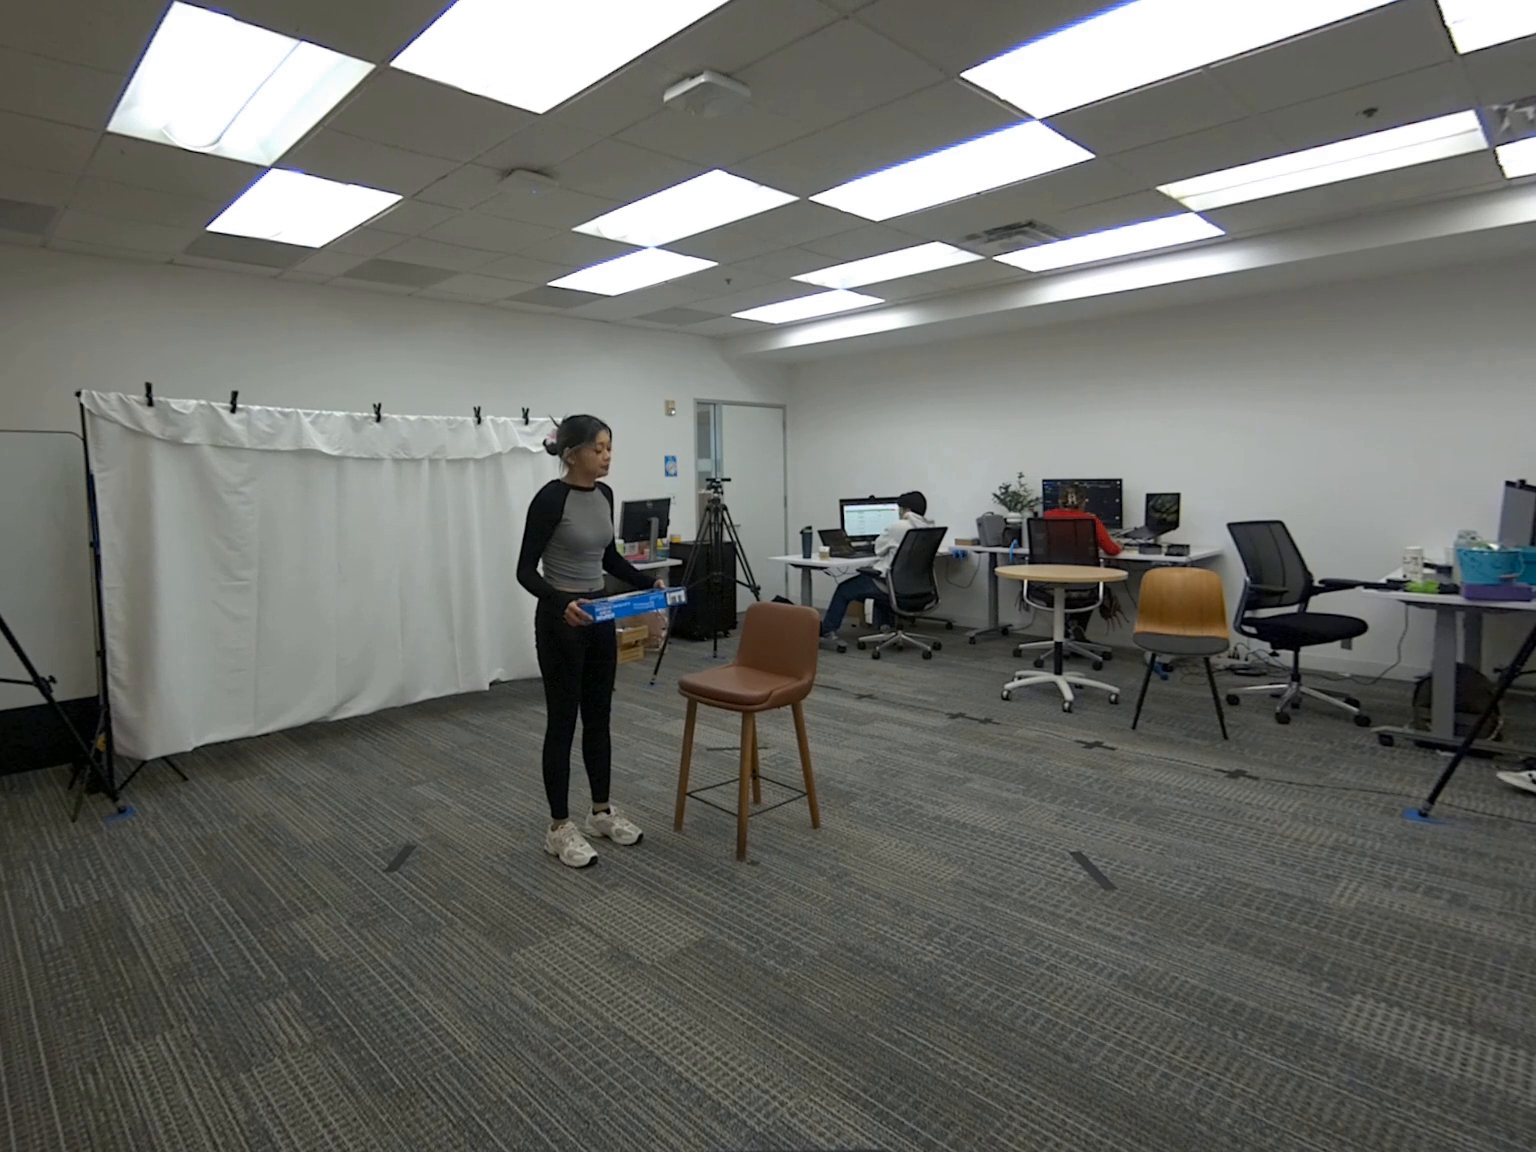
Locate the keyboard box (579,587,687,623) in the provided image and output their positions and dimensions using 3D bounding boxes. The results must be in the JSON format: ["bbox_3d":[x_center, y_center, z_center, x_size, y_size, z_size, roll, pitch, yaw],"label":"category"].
[{"bbox_3d":[-0.505,0.103,3.012,0.180,0.059,0.426,-4,5,40],"label":"keyboard box"}]
